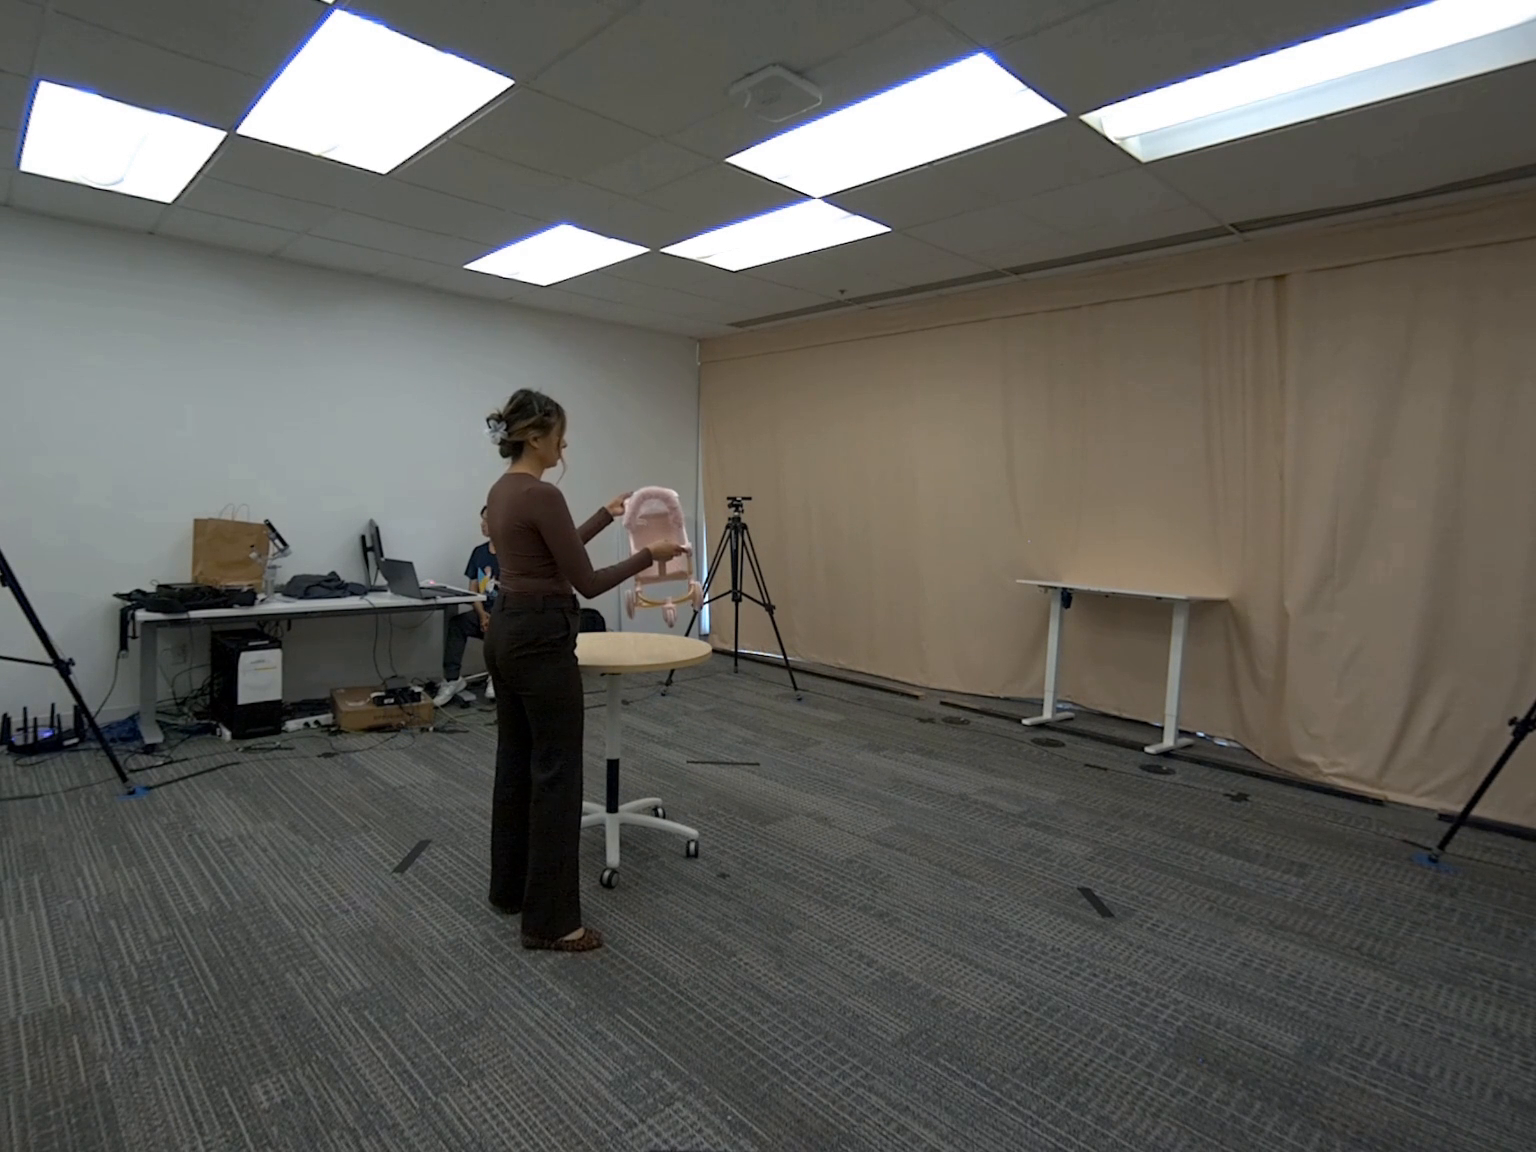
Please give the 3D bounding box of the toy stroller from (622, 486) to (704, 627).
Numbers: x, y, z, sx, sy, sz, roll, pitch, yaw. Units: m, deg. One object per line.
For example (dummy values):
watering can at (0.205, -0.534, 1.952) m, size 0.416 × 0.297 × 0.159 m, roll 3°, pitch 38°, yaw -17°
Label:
toy stroller at (-0.393, -0.074, 2.968) m, size 0.280 × 0.538 × 0.340 m, roll -7°, pitch -7°, yaw -6°
